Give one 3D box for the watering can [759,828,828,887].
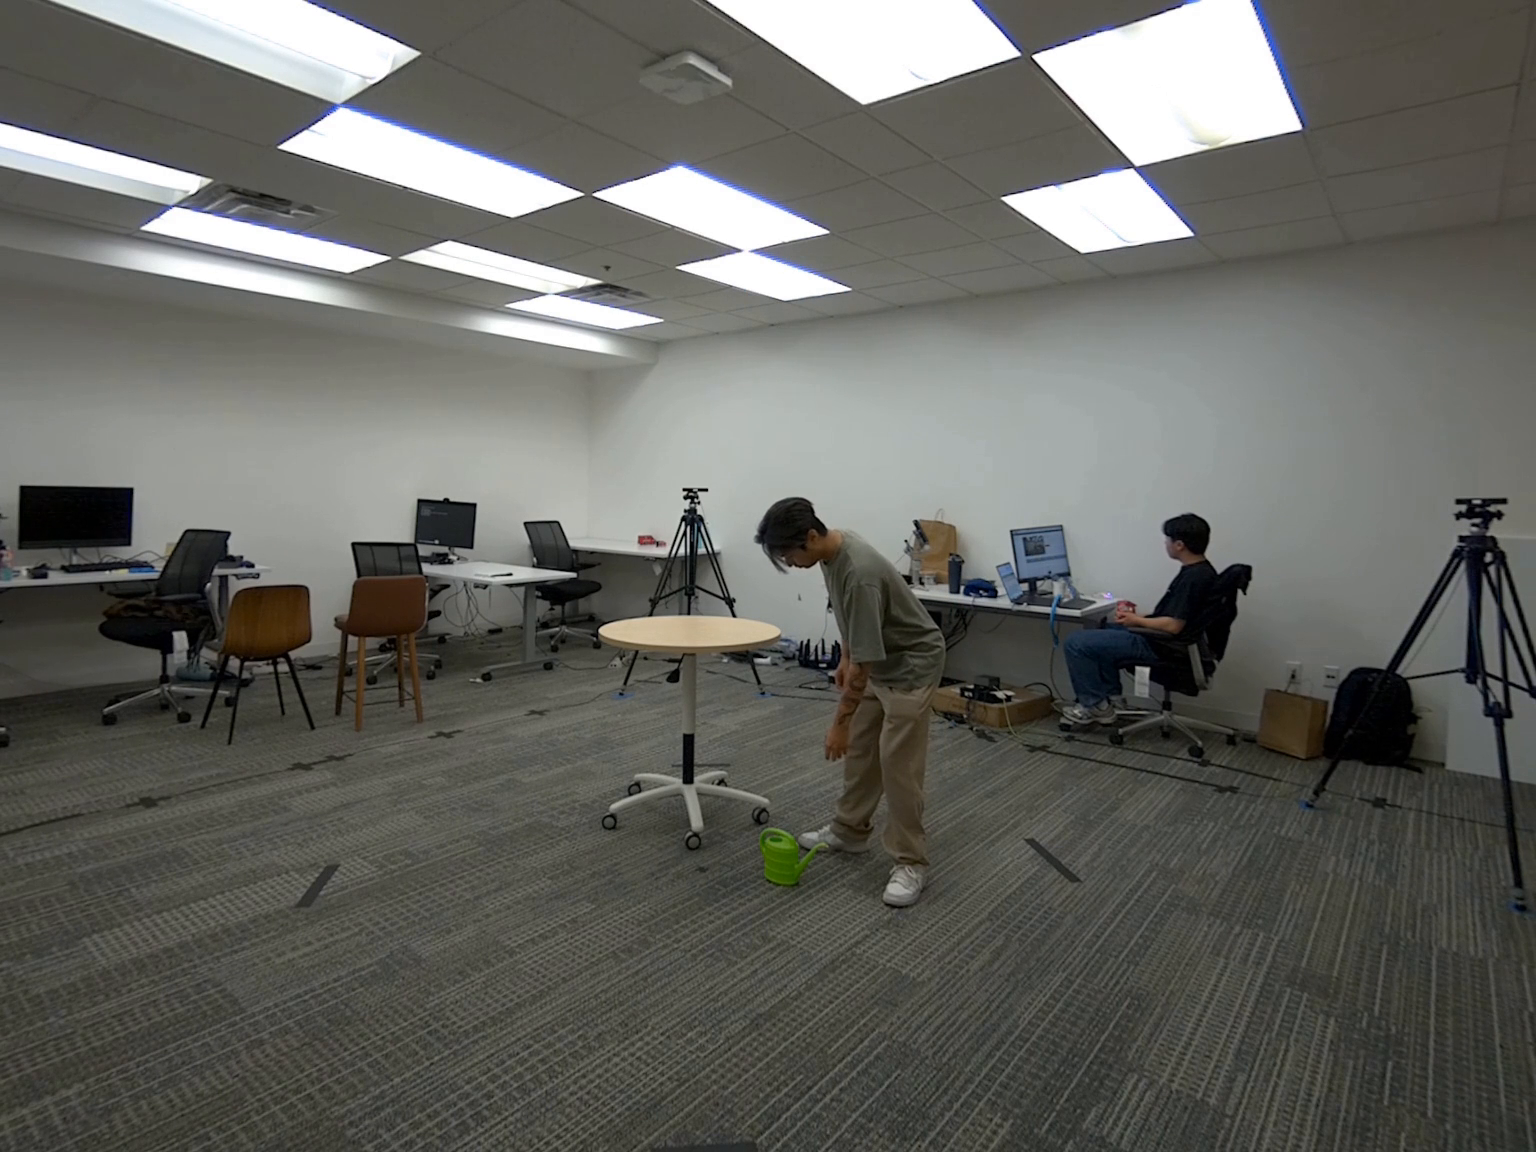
[{"bbox_3d":[0.066,0.990,3.015,0.095,0.176,0.287,-1,4,-42],"label":"watering can"}]
